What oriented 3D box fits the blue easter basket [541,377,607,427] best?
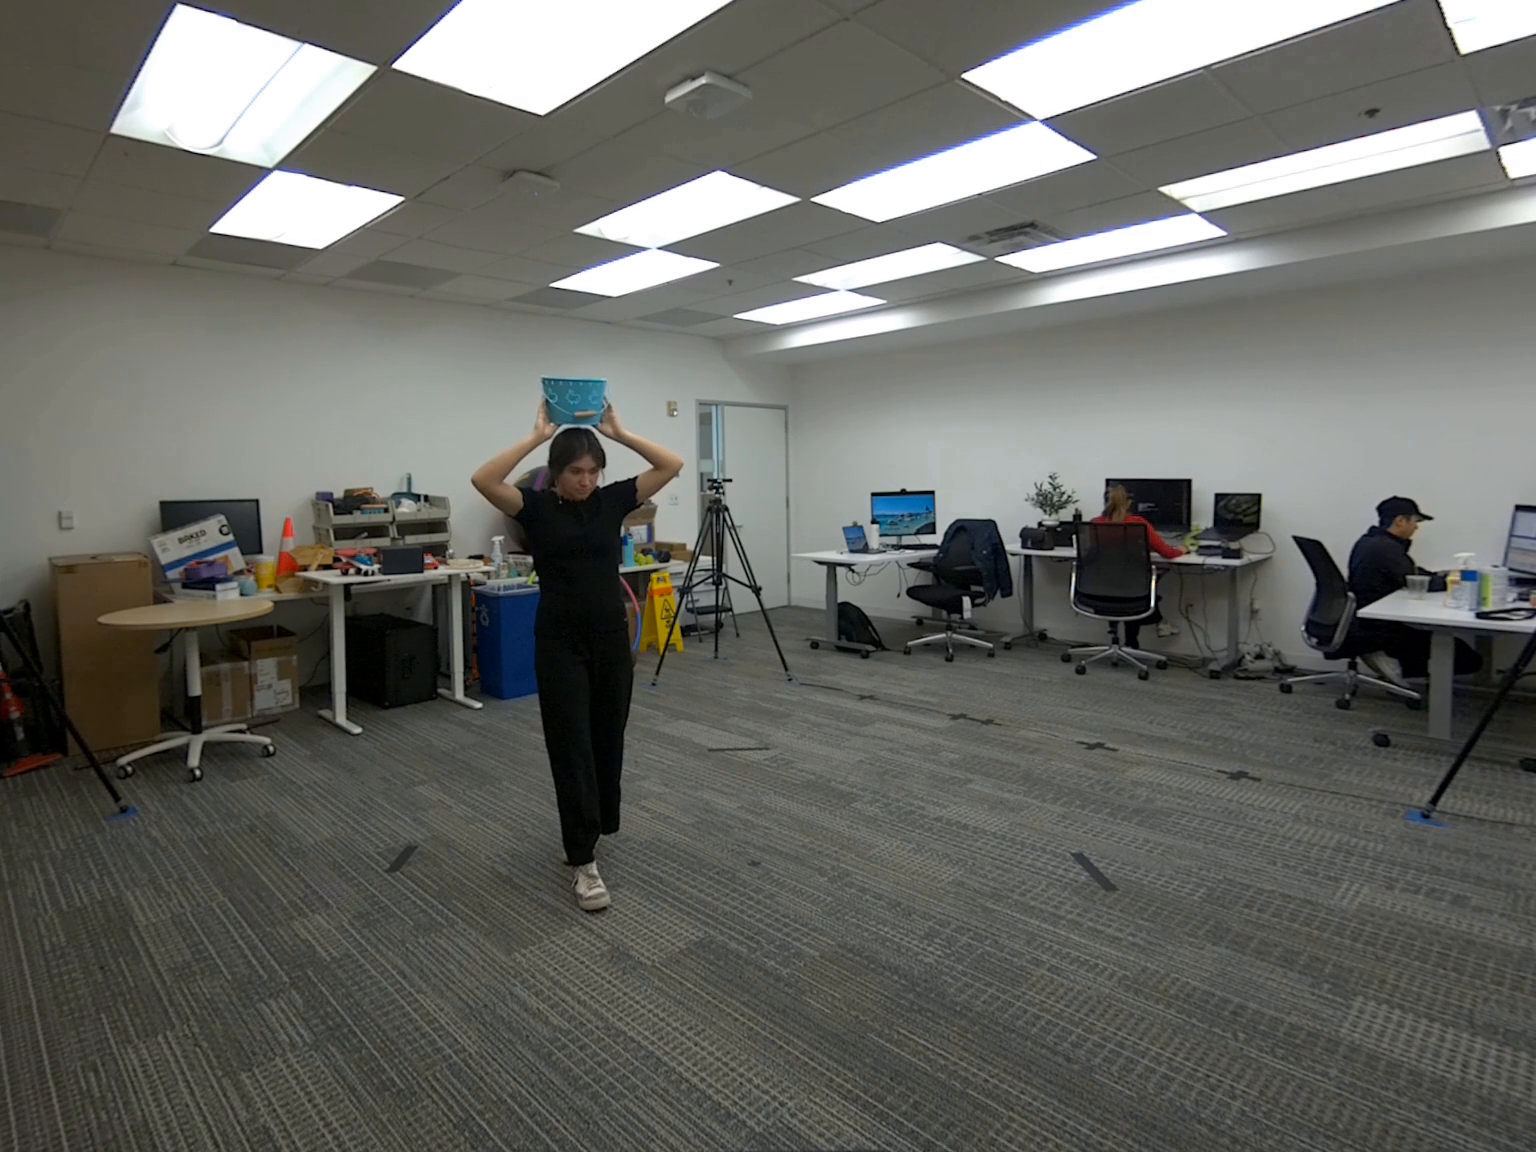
[{"bbox_3d":[-0.676,-0.597,2.910,0.243,0.154,0.246,-1,10,-2],"label":"blue easter basket"}]
